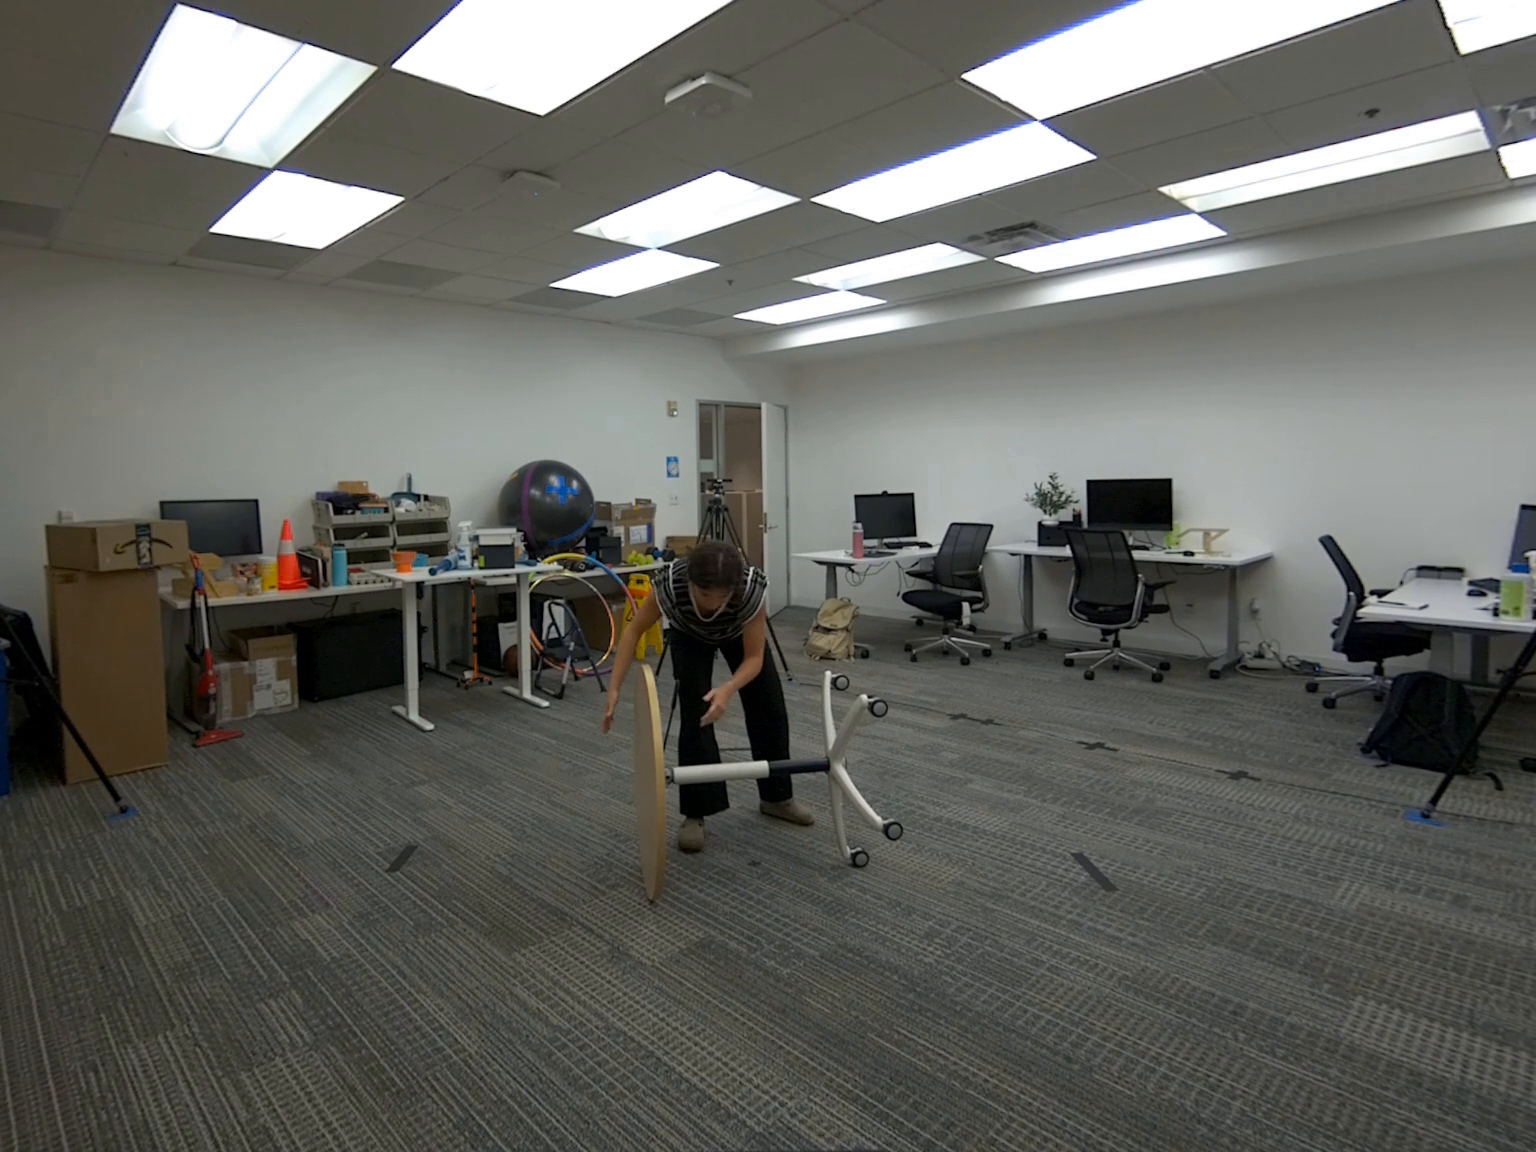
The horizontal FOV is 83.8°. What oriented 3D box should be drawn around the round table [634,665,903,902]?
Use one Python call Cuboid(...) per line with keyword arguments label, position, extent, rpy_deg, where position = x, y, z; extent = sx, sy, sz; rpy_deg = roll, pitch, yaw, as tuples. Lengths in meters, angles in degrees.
Cuboid(label="round table", position=(-0.027, 0.687, 2.977), extent=(0.785, 0.761, 0.775), rpy_deg=(-1, 5, -12))
